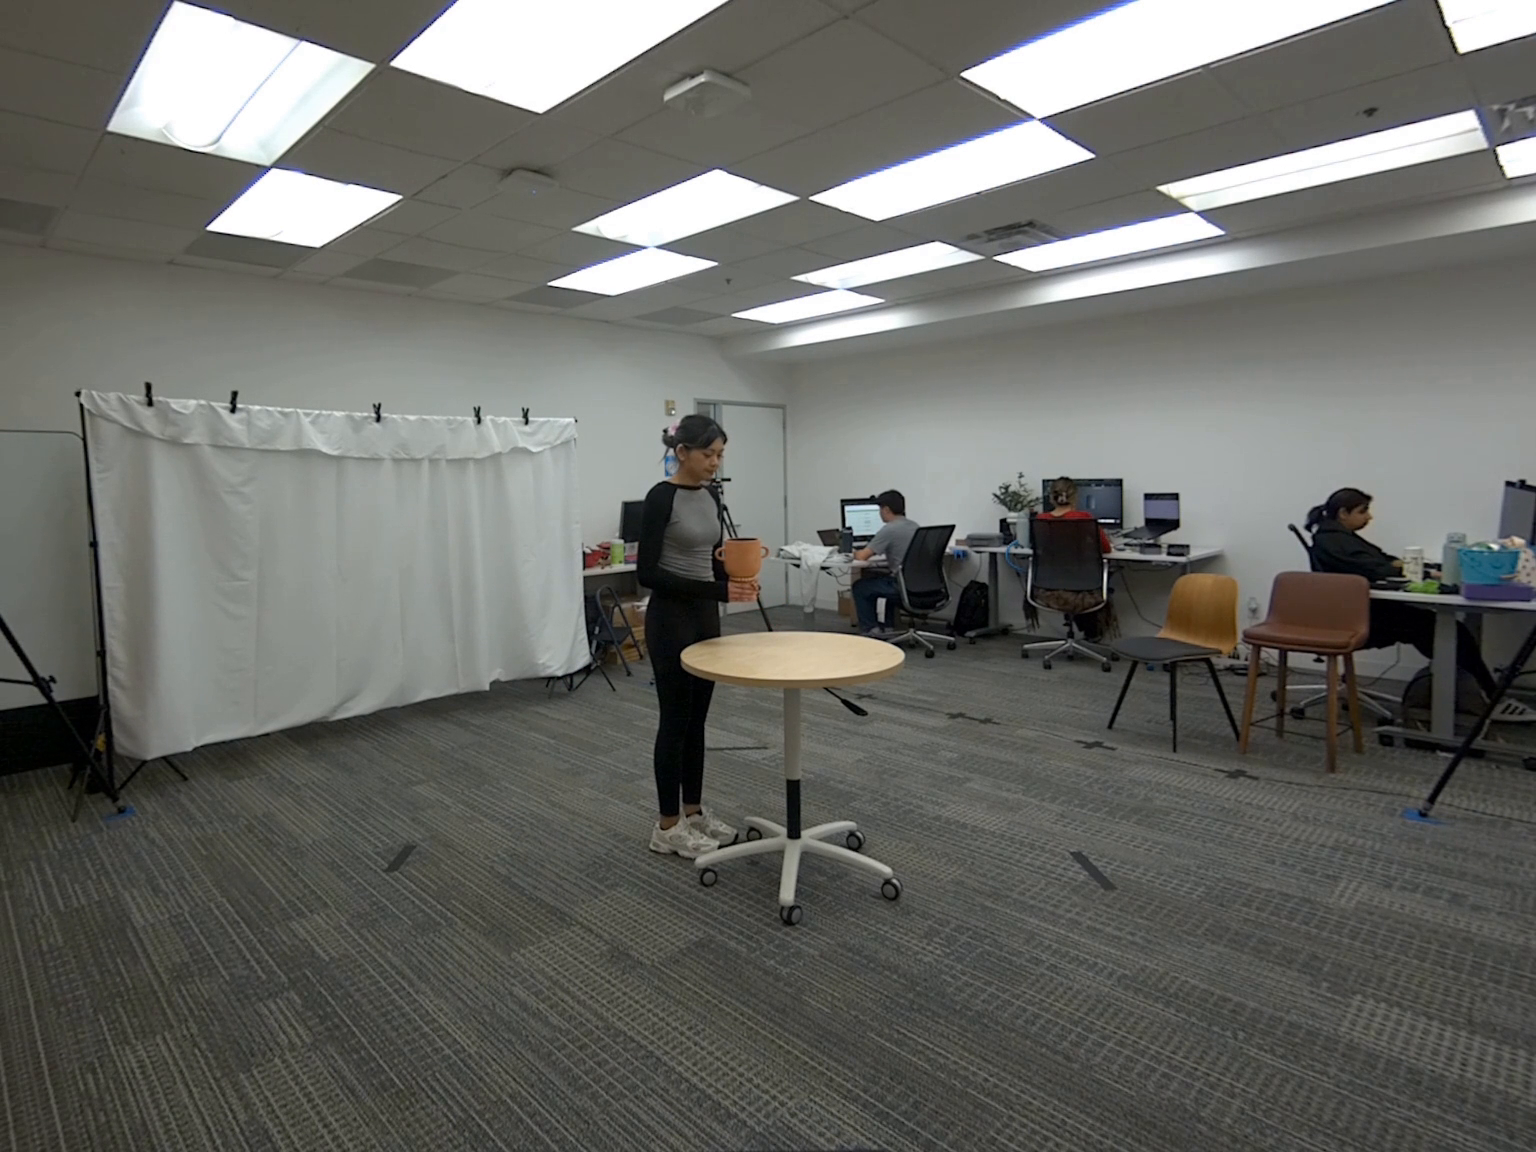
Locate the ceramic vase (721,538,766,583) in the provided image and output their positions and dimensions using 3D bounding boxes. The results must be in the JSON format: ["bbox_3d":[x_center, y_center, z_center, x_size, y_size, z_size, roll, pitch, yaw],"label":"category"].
[{"bbox_3d":[-0.088,-0.020,3.060,0.163,0.218,0.132,3,9,26],"label":"ceramic vase"}]
